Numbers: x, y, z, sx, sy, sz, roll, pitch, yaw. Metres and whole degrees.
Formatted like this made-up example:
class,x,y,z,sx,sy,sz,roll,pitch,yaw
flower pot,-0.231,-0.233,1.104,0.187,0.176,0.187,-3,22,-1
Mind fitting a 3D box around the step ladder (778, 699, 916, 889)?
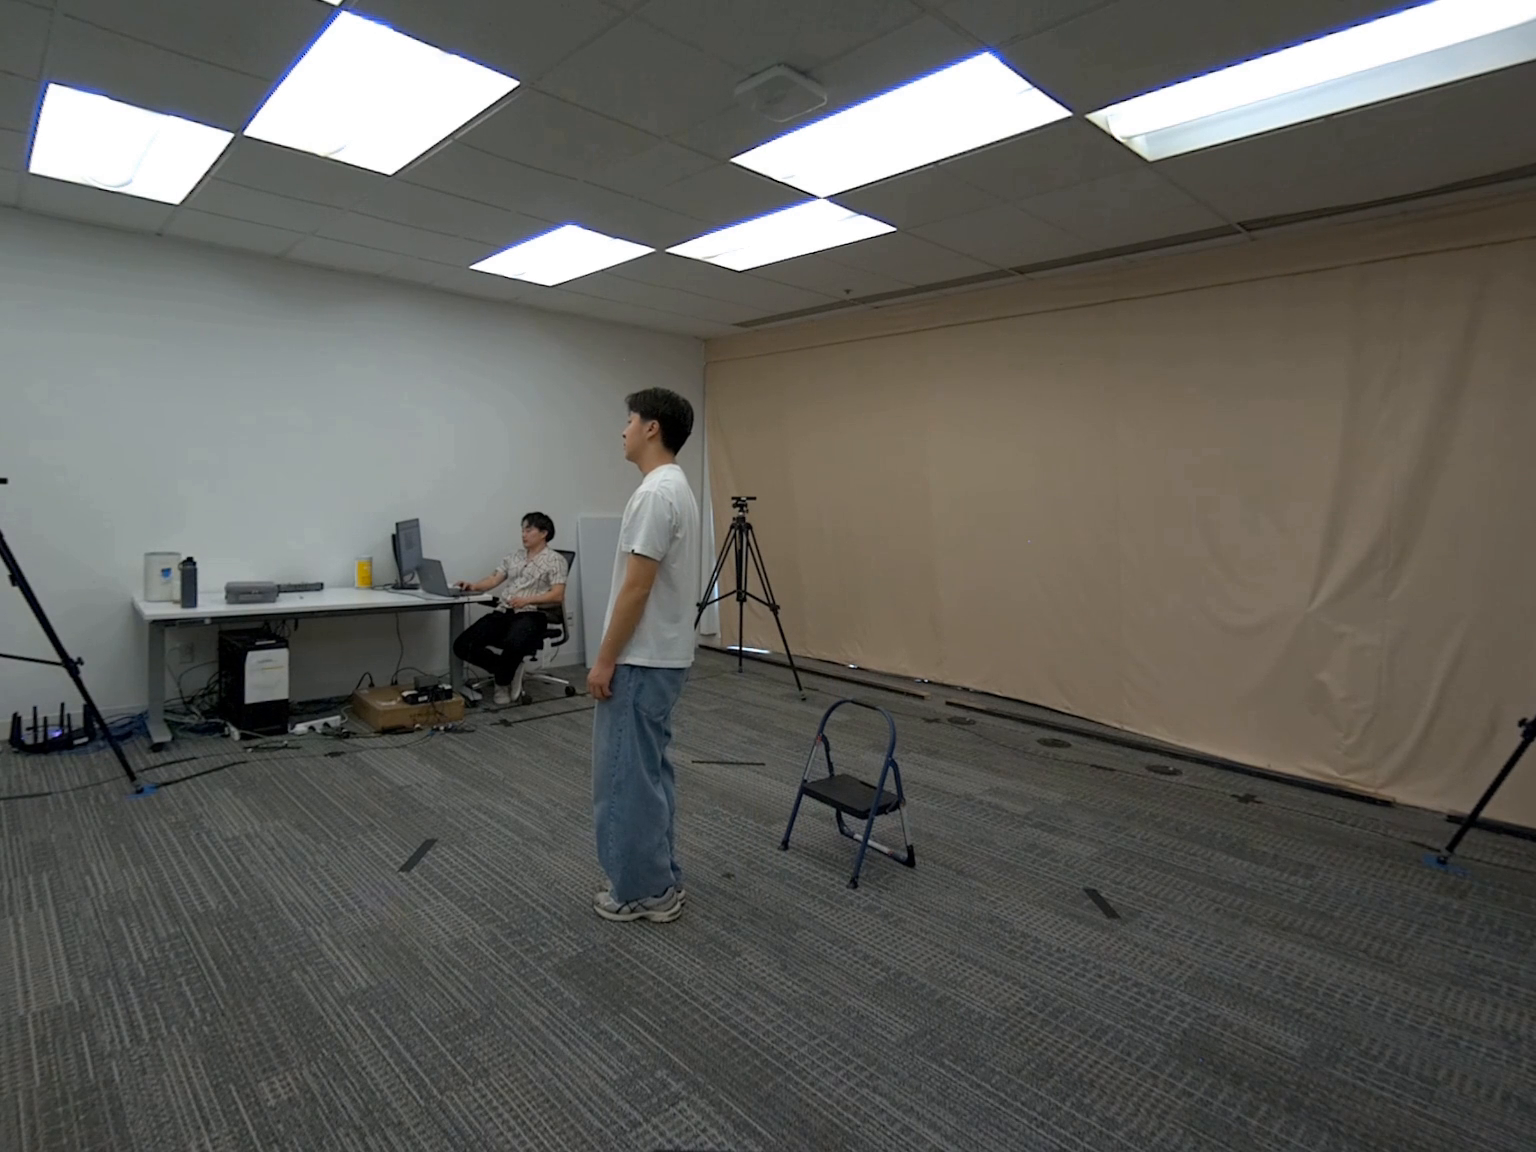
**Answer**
class,x,y,z,sx,sy,sz,roll,pitch,yaw
step ladder,0.309,0.798,3.272,0.341,0.605,0.441,-1,4,-37
